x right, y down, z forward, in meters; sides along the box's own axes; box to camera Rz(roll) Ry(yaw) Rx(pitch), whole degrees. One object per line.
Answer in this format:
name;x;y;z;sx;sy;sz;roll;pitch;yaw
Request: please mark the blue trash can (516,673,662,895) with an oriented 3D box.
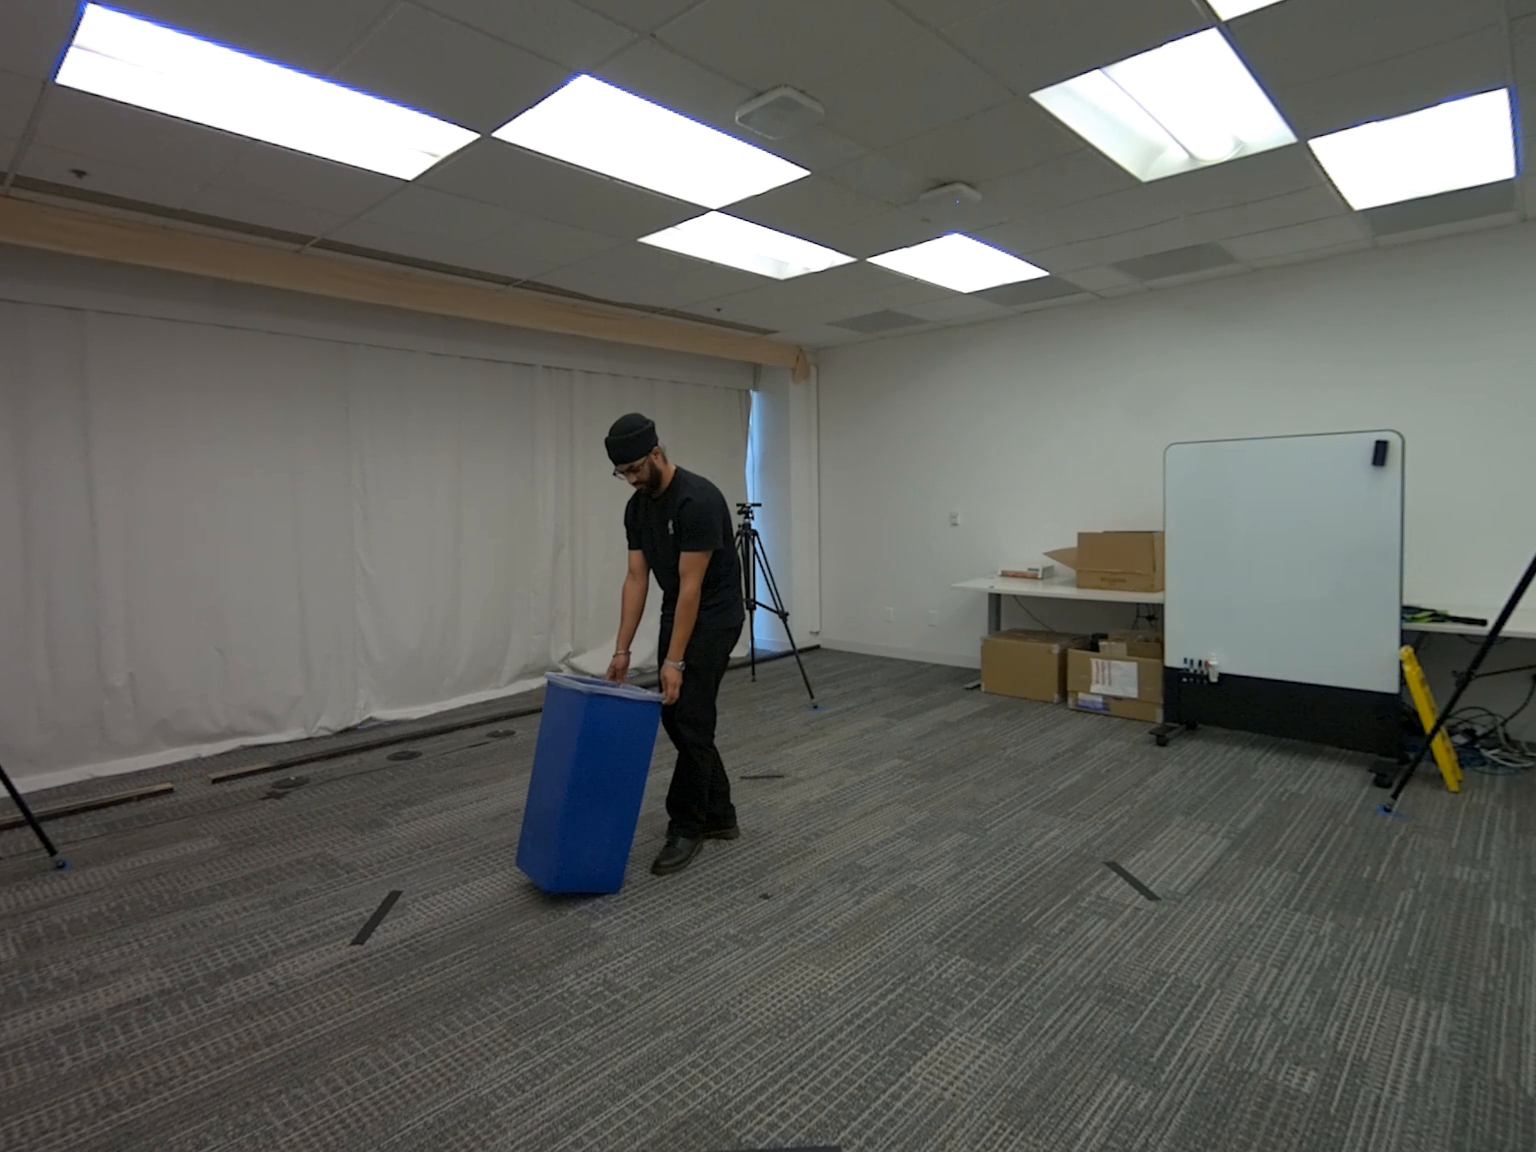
blue trash can;-0.665;0.755;3.125;0.361;0.715;0.390;15;-8;-38
